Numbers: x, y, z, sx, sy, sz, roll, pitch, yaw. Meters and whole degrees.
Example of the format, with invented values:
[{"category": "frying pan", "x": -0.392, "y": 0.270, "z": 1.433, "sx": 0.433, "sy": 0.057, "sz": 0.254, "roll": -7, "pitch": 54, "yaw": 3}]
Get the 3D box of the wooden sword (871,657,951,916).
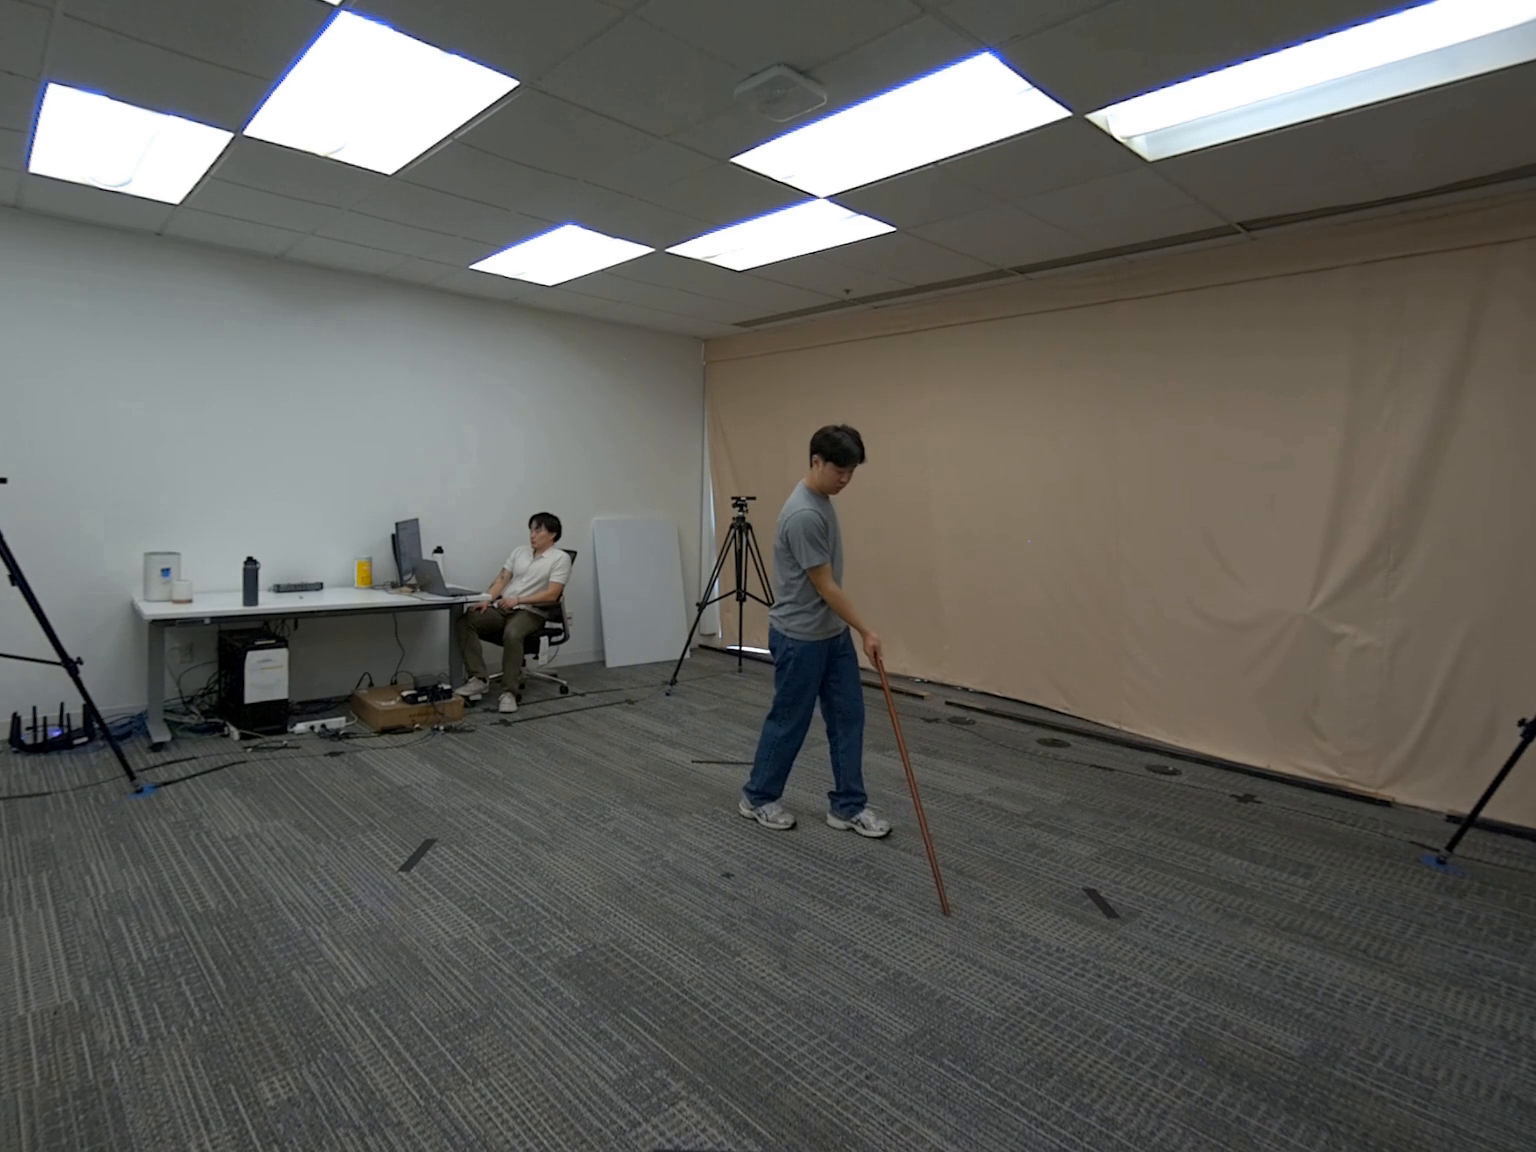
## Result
[{"category": "wooden sword", "x": 0.510, "y": 0.719, "z": 3.118, "sx": 0.051, "sy": 1.049, "sz": 0.023, "roll": -8, "pitch": -32, "yaw": -5}]
